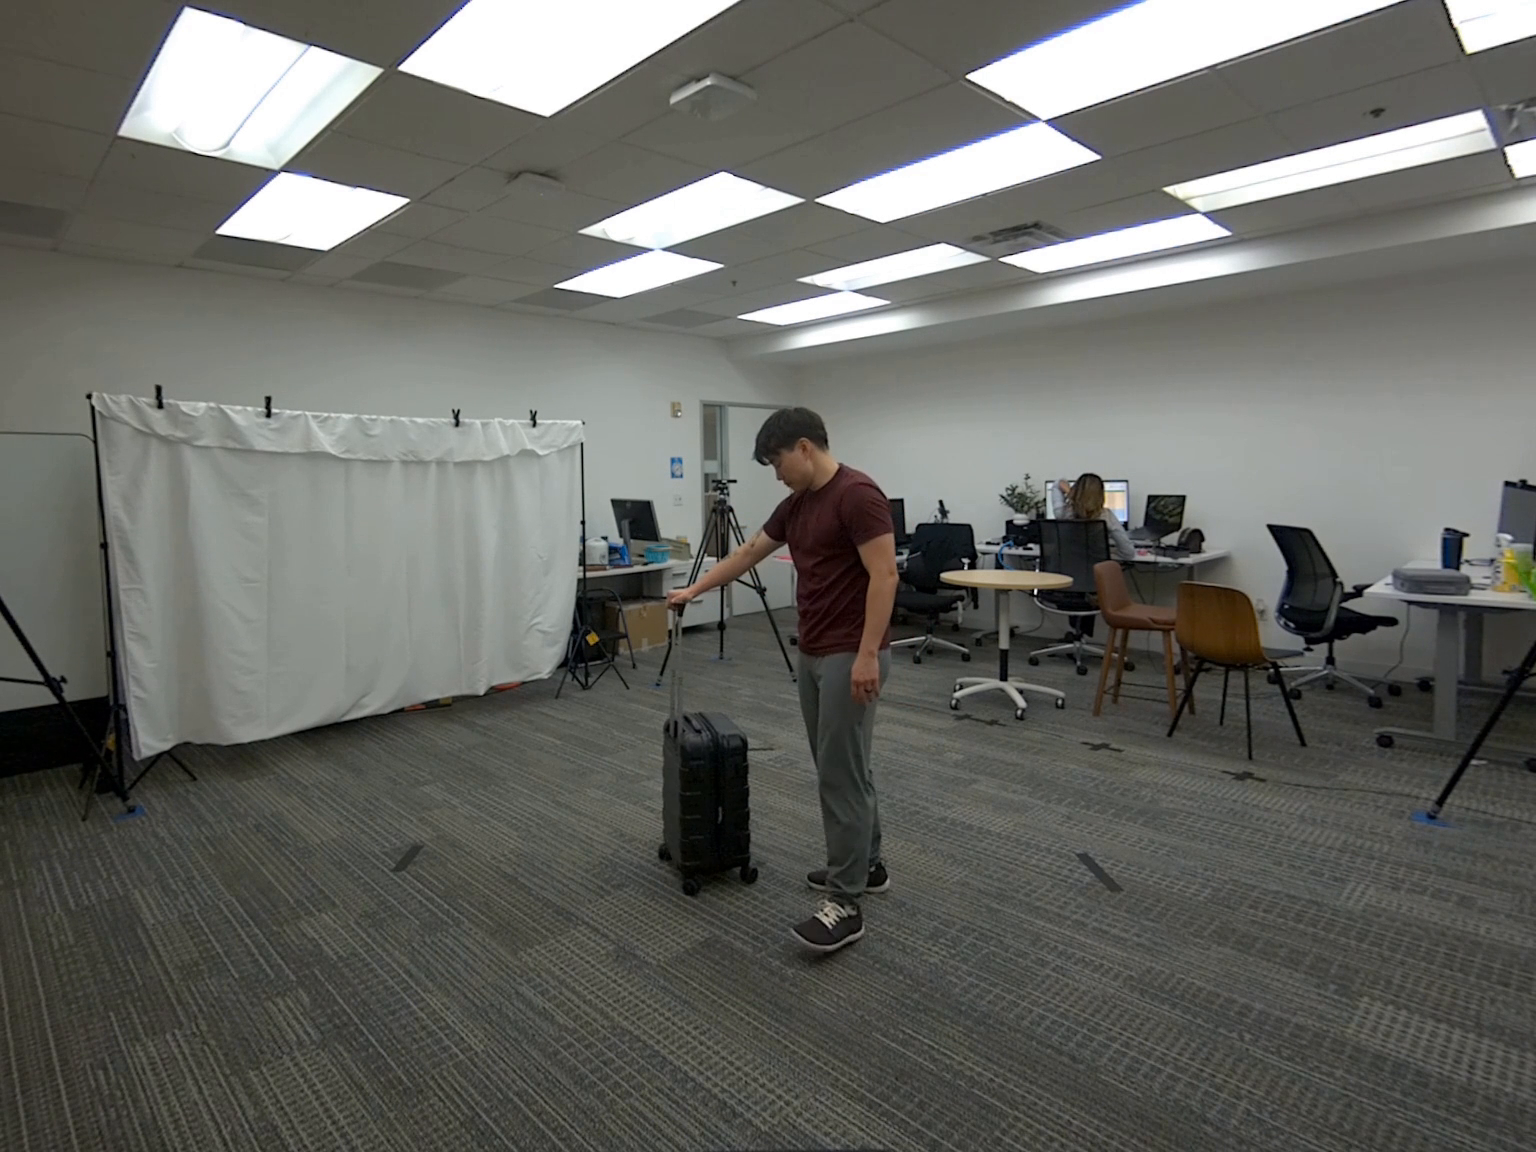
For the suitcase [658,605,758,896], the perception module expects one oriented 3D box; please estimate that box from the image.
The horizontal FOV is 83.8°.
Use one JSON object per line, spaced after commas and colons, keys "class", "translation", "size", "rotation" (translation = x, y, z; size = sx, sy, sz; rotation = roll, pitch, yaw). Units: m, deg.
{"class": "suitcase", "translation": [-0.225, 0.579, 3.054], "size": [0.253, 0.976, 0.391], "rotation": [-1, 4, -17]}
